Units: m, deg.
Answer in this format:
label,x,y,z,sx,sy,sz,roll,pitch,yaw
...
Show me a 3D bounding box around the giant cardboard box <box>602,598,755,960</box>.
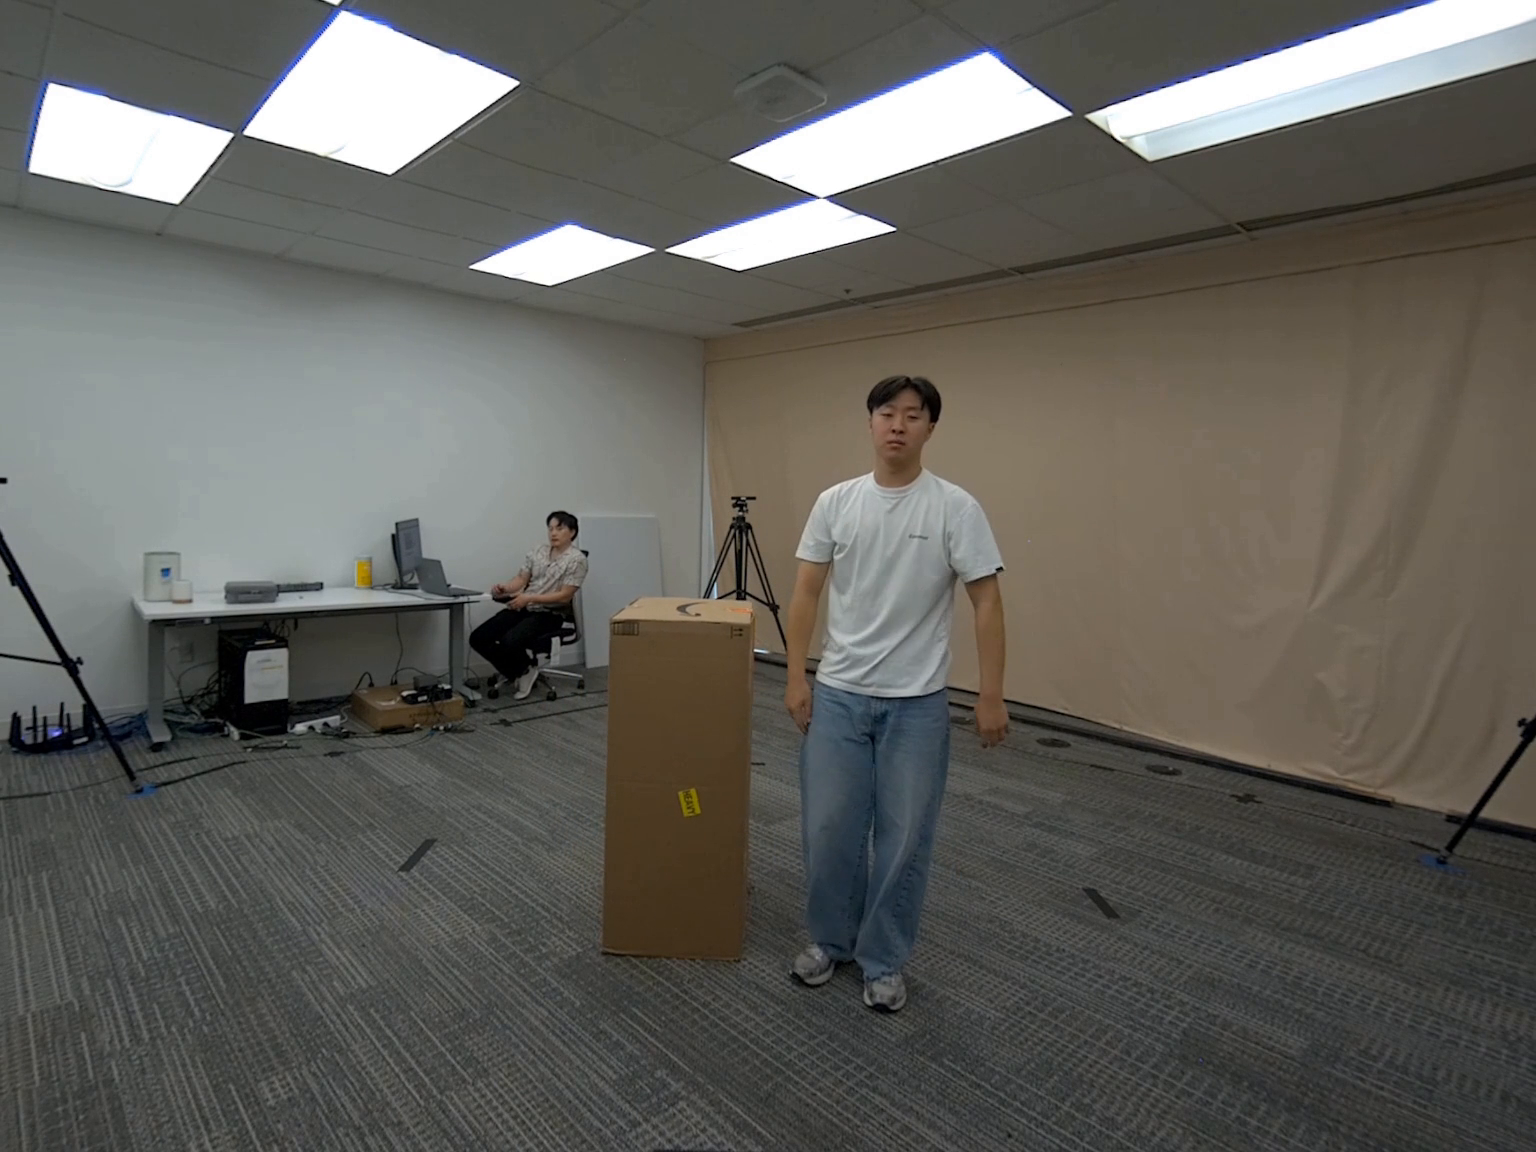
label,x,y,z,sx,sy,sz,roll,pitch,yaw
giant cardboard box,-0.285,0.619,2.800,0.427,1.023,0.577,2,3,2
